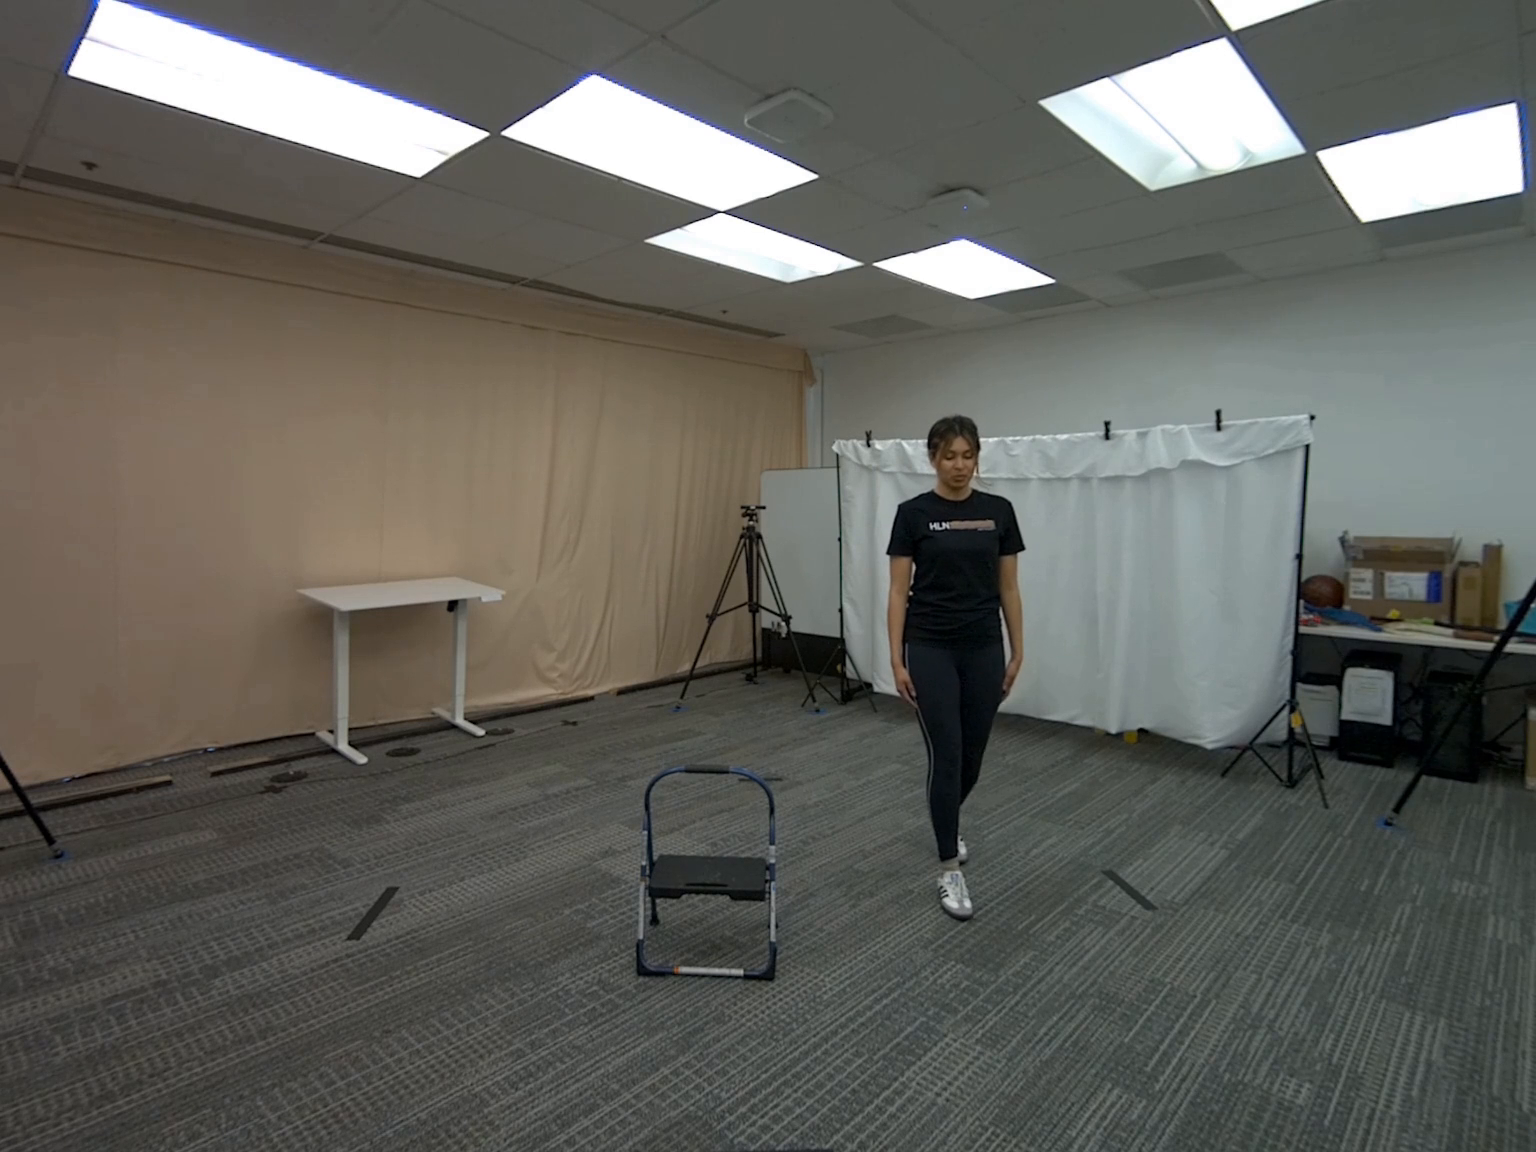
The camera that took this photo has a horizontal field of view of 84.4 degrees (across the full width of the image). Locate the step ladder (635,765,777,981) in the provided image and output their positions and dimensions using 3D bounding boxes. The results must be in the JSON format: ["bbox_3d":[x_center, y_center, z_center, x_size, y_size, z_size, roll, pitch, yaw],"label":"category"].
[{"bbox_3d":[-0.182,0.873,2.634,0.432,0.605,0.349,0,2,2],"label":"step ladder"}]
